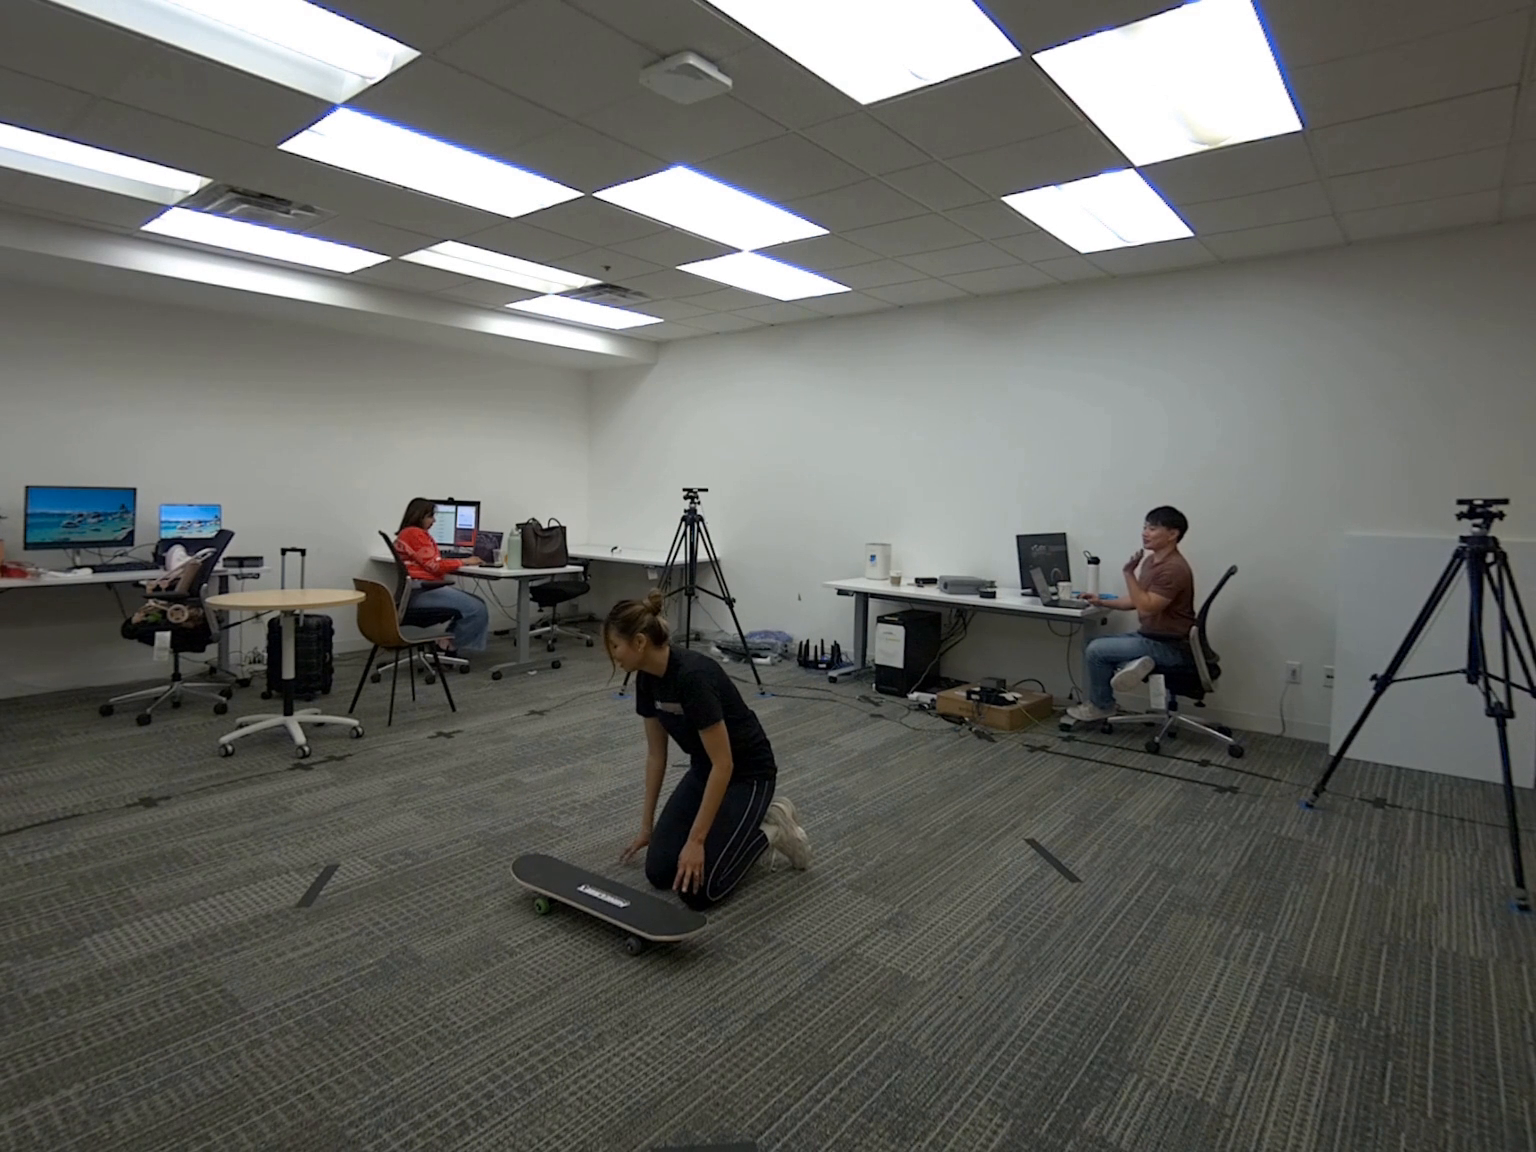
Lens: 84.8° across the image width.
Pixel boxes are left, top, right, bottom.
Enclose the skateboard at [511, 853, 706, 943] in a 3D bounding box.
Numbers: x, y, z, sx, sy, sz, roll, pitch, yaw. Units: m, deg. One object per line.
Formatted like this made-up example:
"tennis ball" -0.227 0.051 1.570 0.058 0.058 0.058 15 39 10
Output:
"skateboard" -0.531 1.035 2.714 0.811 0.110 0.188 5 6 35
